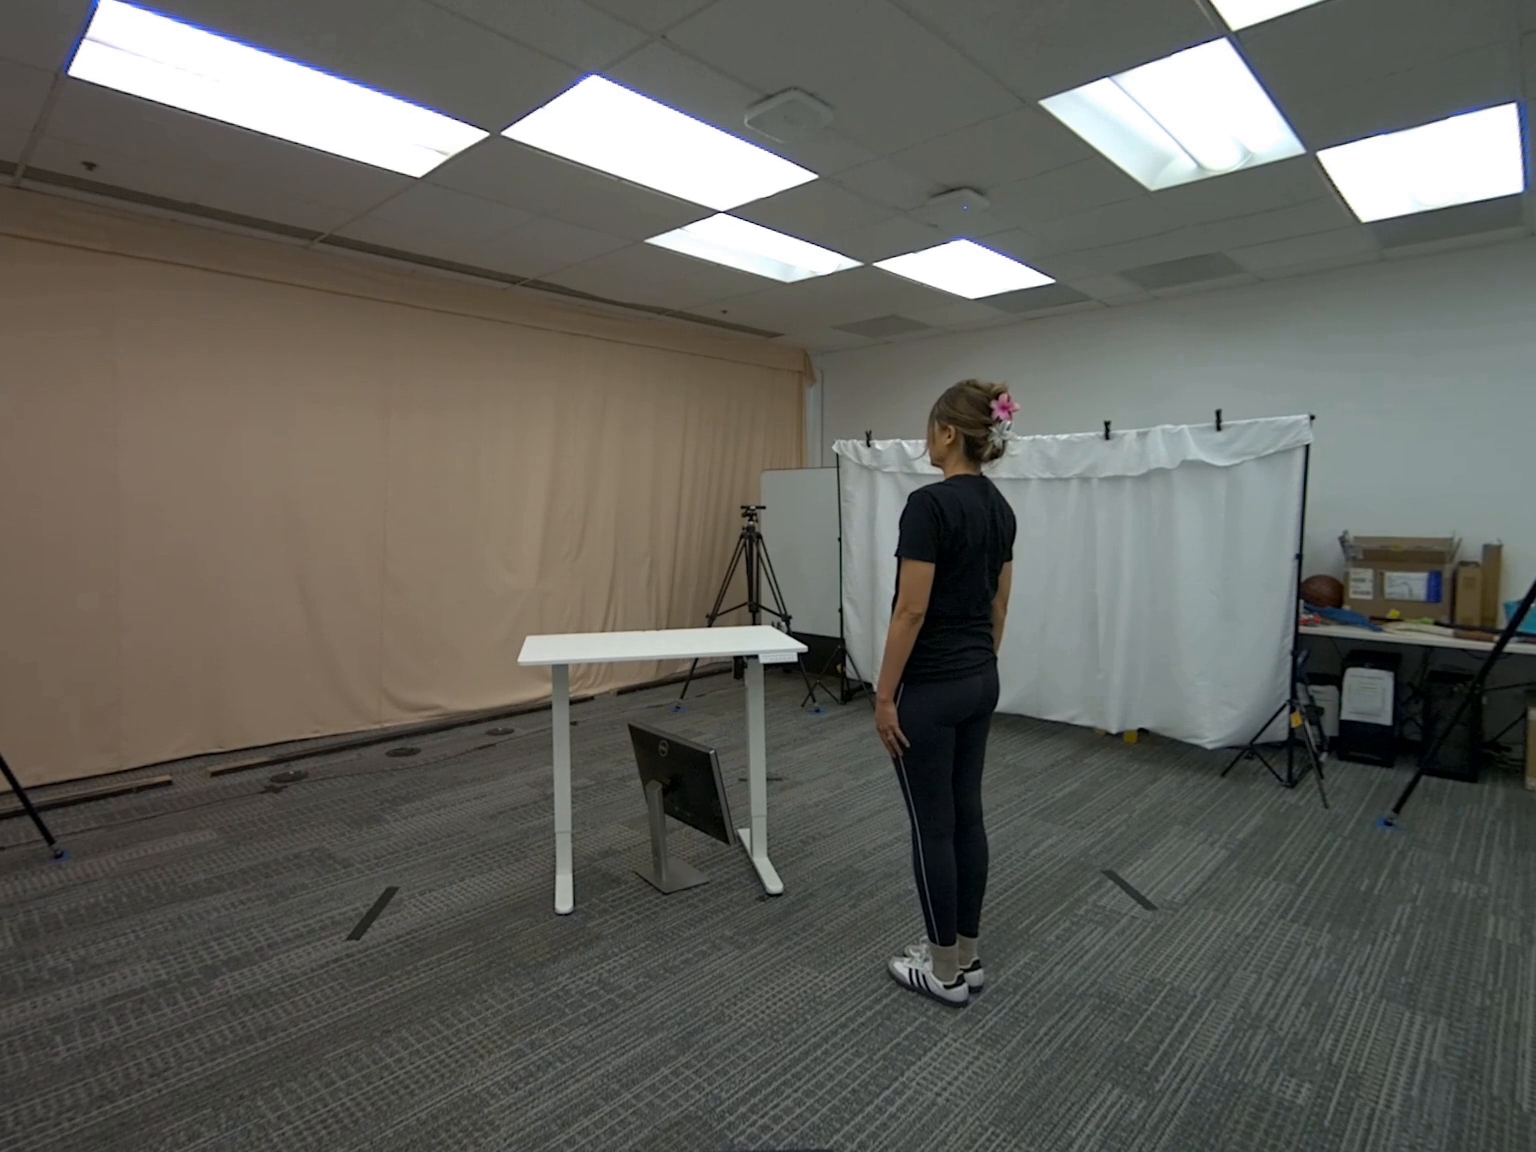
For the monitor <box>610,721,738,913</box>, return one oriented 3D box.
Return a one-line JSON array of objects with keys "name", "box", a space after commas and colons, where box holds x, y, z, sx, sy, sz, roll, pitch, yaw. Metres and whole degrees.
[{"name": "monitor", "box": [-0.365, 0.866, 3.154, 0.181, 0.522, 0.557, -1, 4, -40]}]
